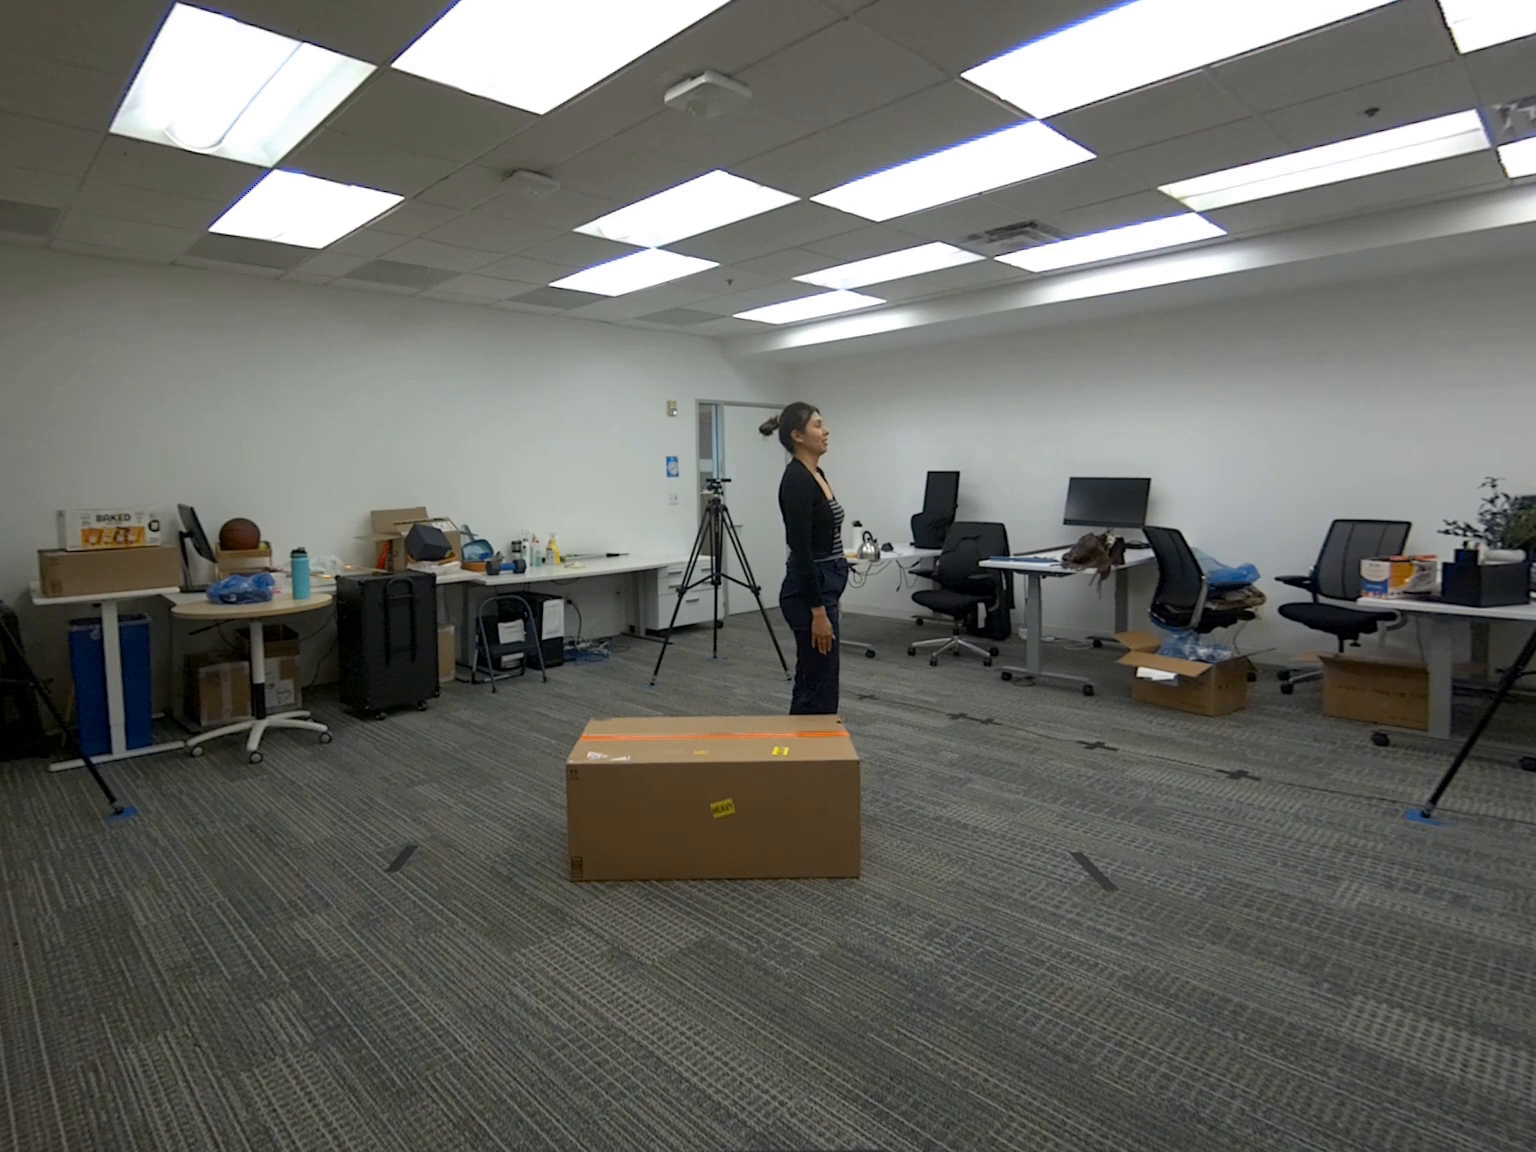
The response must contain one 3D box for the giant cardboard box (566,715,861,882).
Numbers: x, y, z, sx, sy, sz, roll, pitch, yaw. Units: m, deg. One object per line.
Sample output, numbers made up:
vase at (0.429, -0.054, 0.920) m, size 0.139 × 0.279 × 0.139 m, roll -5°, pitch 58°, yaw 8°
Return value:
giant cardboard box at (-0.209, 0.814, 3.252) m, size 1.026 × 0.424 × 0.580 m, roll -1°, pitch 6°, yaw 0°
